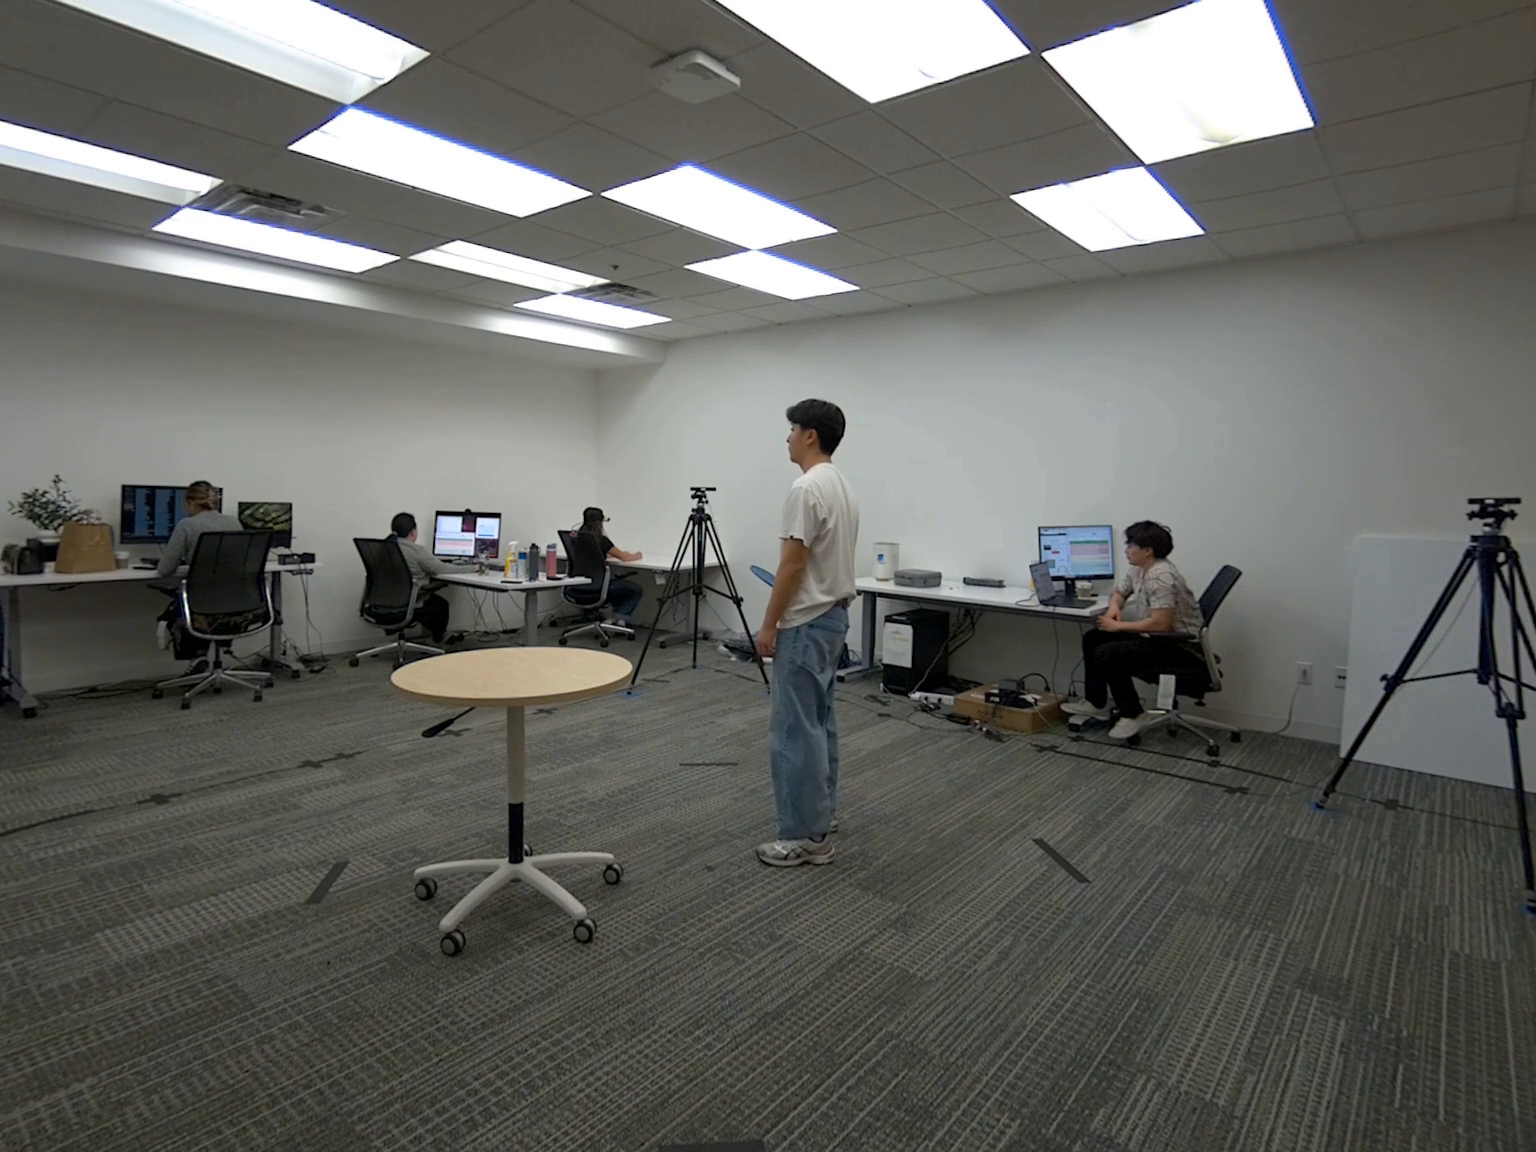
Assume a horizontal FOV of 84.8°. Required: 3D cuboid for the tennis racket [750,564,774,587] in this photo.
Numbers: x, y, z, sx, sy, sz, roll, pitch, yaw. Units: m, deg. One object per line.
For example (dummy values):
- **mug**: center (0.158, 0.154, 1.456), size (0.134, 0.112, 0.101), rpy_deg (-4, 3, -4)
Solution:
- **tennis racket**: center (0.043, 0.054, 3.932), size (0.206, 0.031, 0.451), rpy_deg (24, 14, -35)
